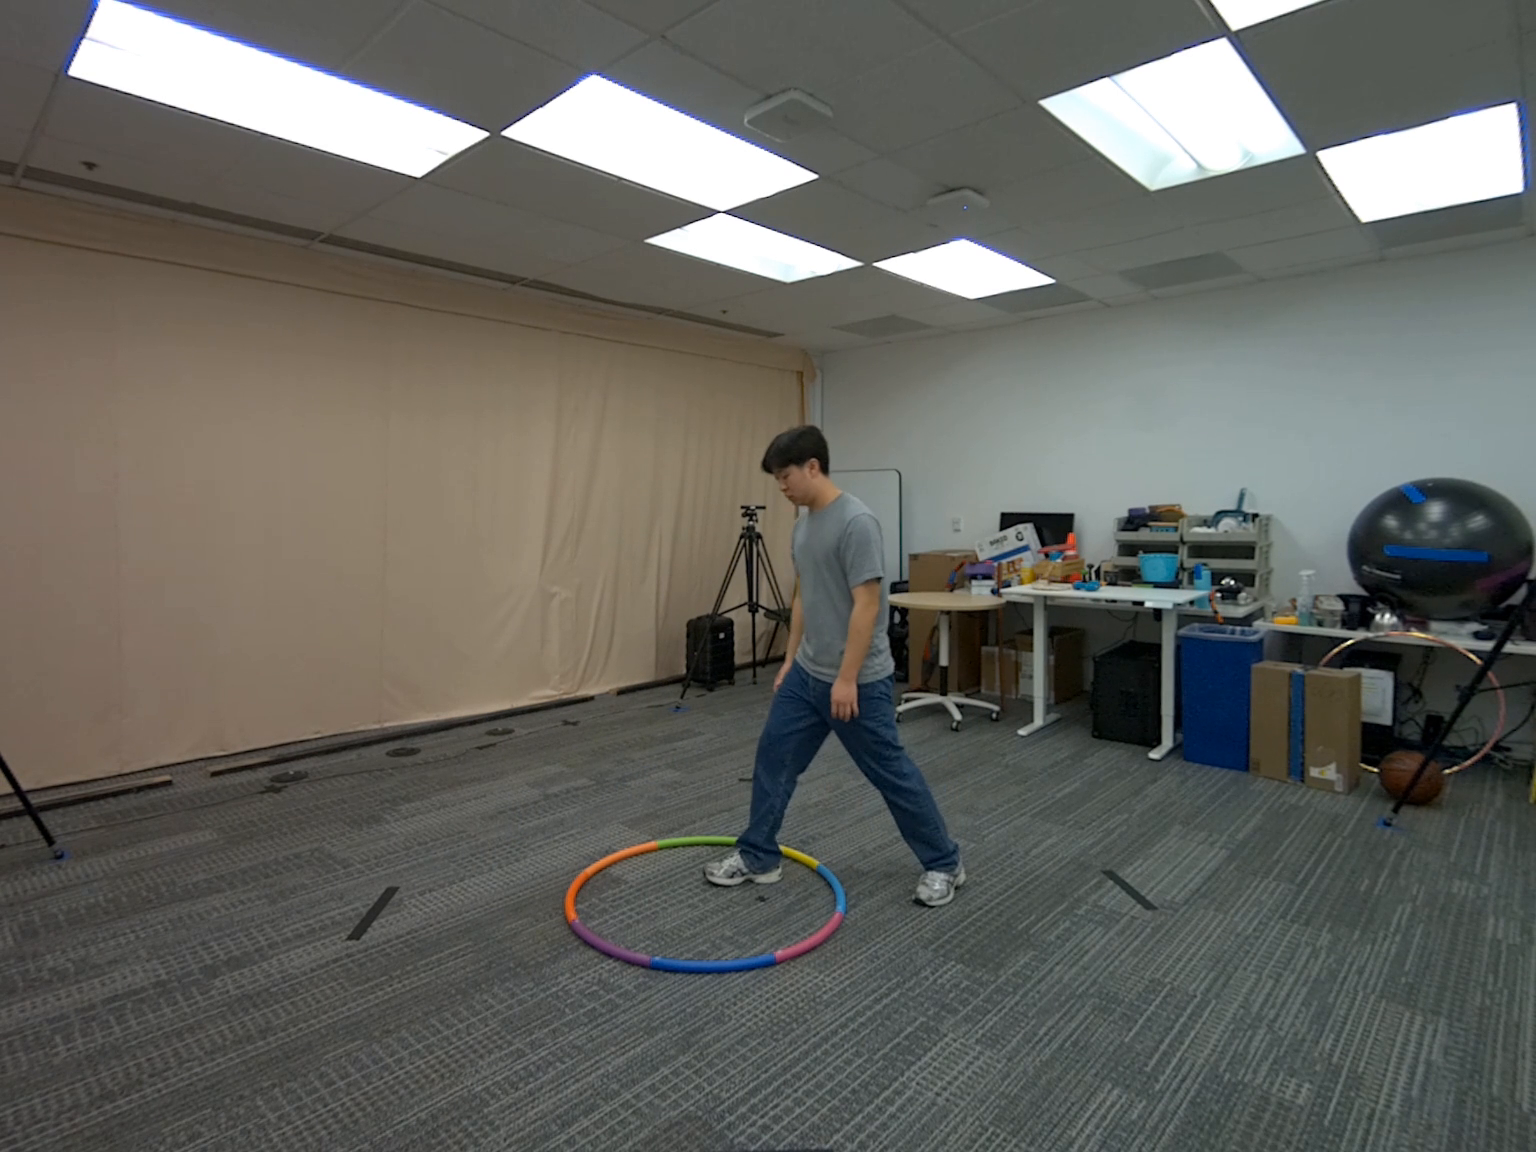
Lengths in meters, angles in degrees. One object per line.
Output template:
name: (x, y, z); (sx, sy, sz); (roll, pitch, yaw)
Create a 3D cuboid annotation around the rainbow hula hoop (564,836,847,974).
rainbow hula hoop: (-0.218, 1.114, 2.989); (0.978, 0.035, 0.982); (0, 5, -2)
